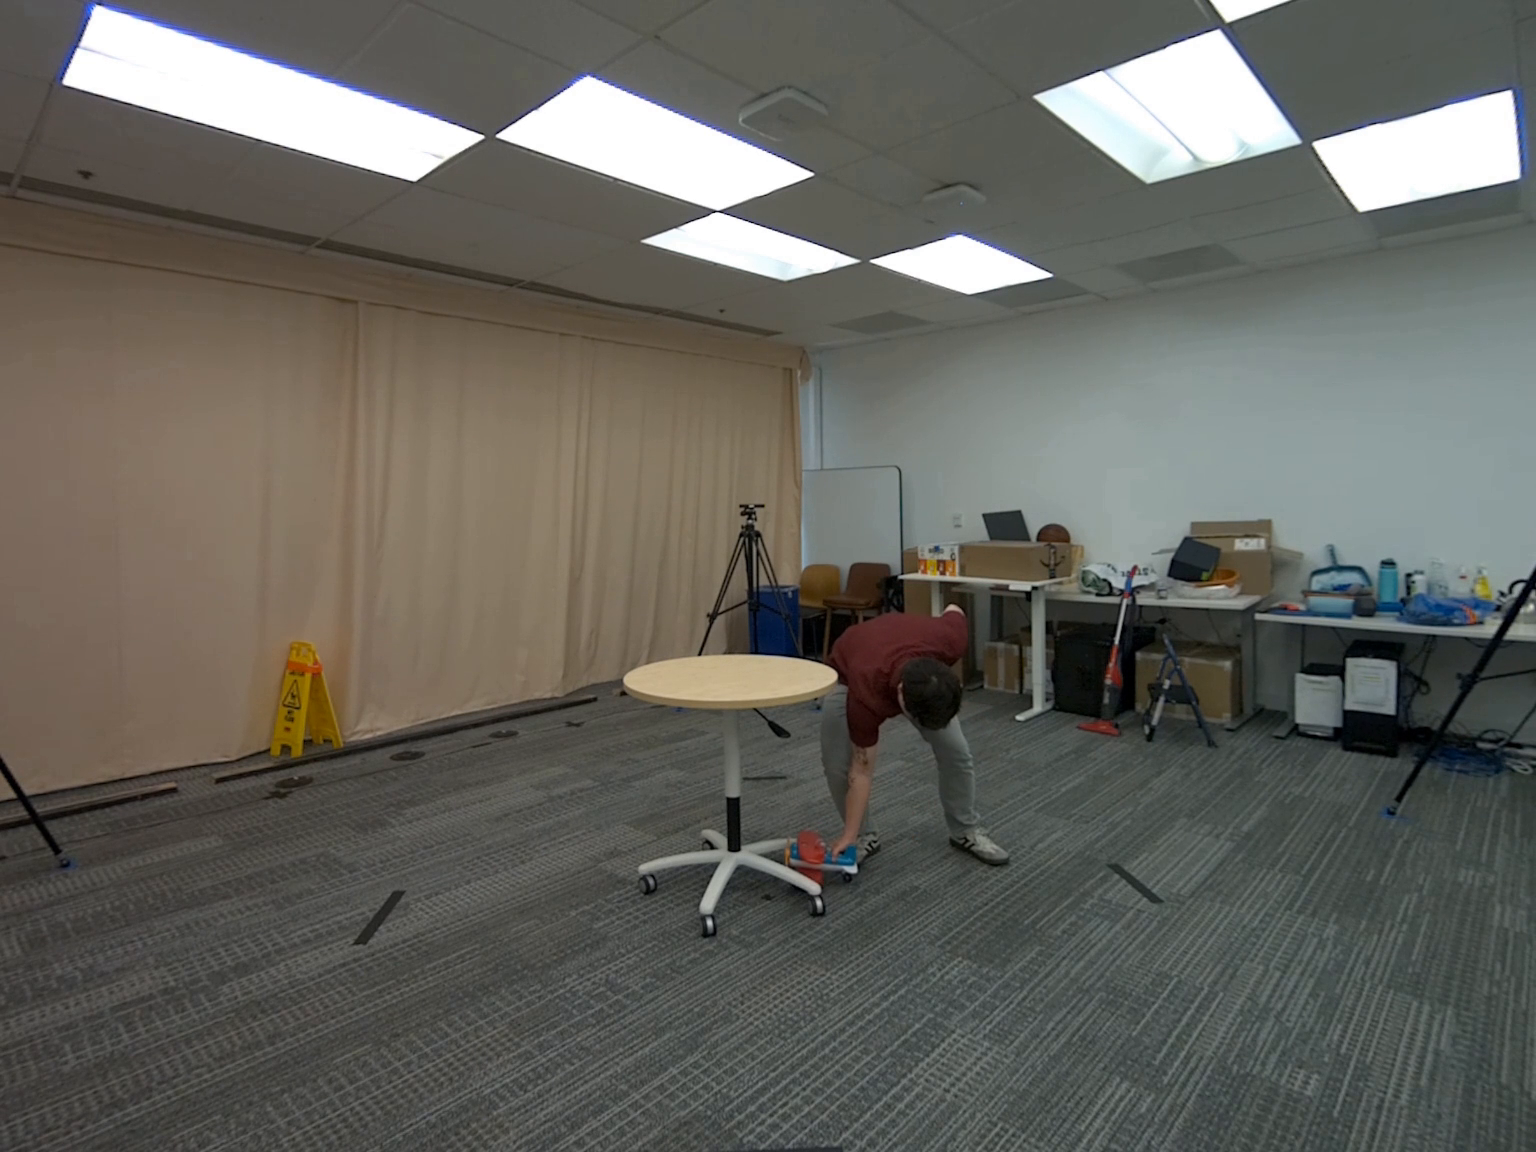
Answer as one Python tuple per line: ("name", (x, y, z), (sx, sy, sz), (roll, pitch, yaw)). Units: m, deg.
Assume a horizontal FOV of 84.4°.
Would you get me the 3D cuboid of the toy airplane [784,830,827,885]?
("toy airplane", (0.193, 1.043, 3.069), (0.253, 0.156, 0.258), (-9, 6, -26))
